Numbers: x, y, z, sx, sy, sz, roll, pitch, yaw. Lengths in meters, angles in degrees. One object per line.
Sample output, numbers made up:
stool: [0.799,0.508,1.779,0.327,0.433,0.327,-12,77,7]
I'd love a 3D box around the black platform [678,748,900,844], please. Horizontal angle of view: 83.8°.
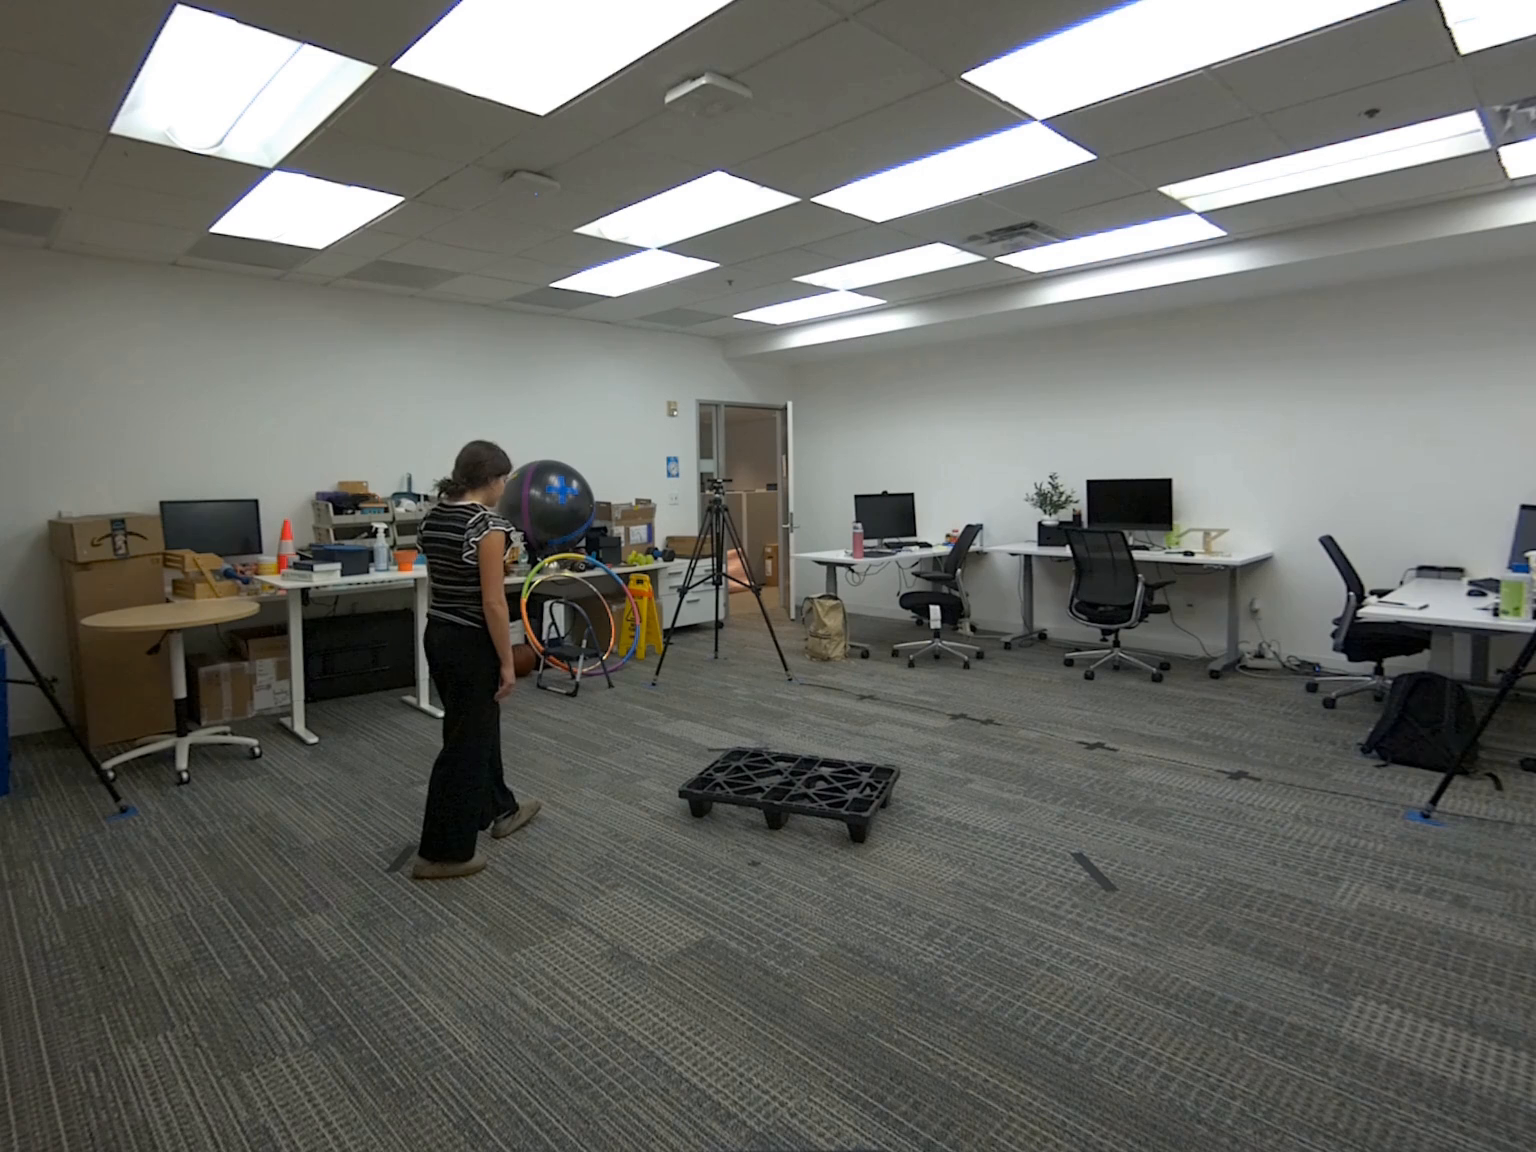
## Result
black platform: [0.105,0.914,3.612,0.822,0.143,0.595,1,7,22]
